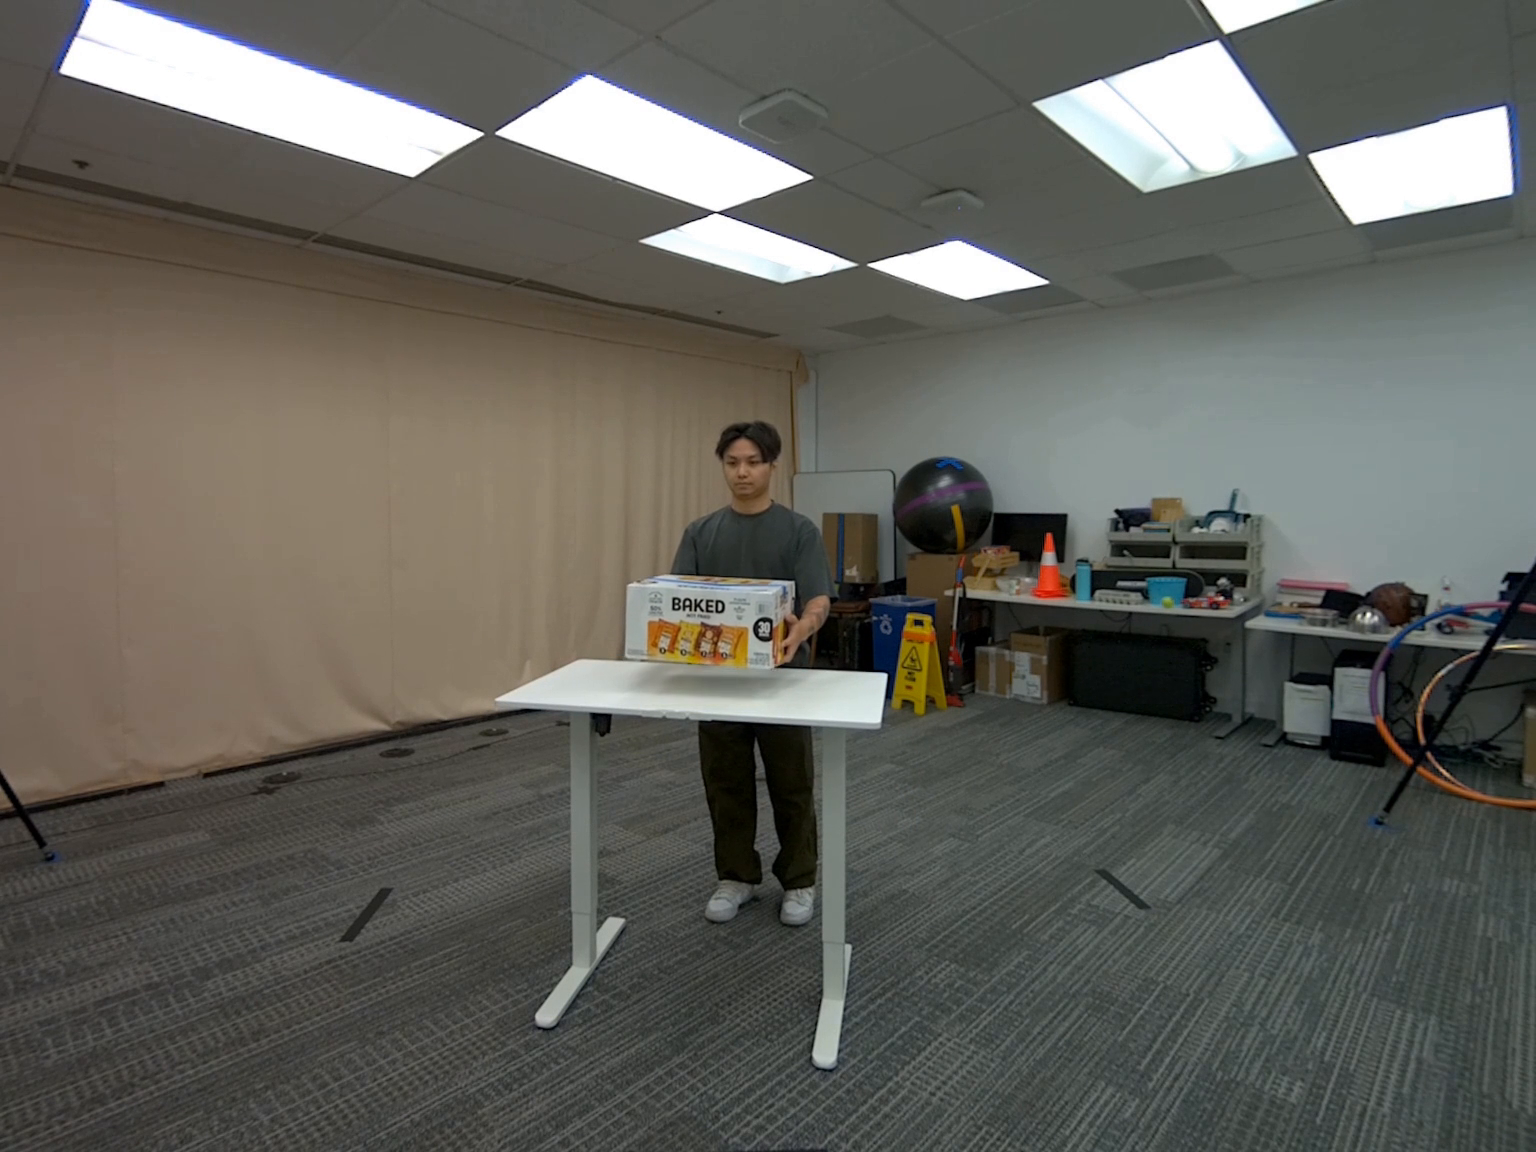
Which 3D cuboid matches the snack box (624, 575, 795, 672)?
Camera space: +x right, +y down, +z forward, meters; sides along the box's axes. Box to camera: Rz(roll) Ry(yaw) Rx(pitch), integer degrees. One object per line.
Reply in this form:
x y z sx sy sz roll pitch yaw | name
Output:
-0.151 0.123 2.392 0.411 0.205 0.336 2 5 13 | snack box
